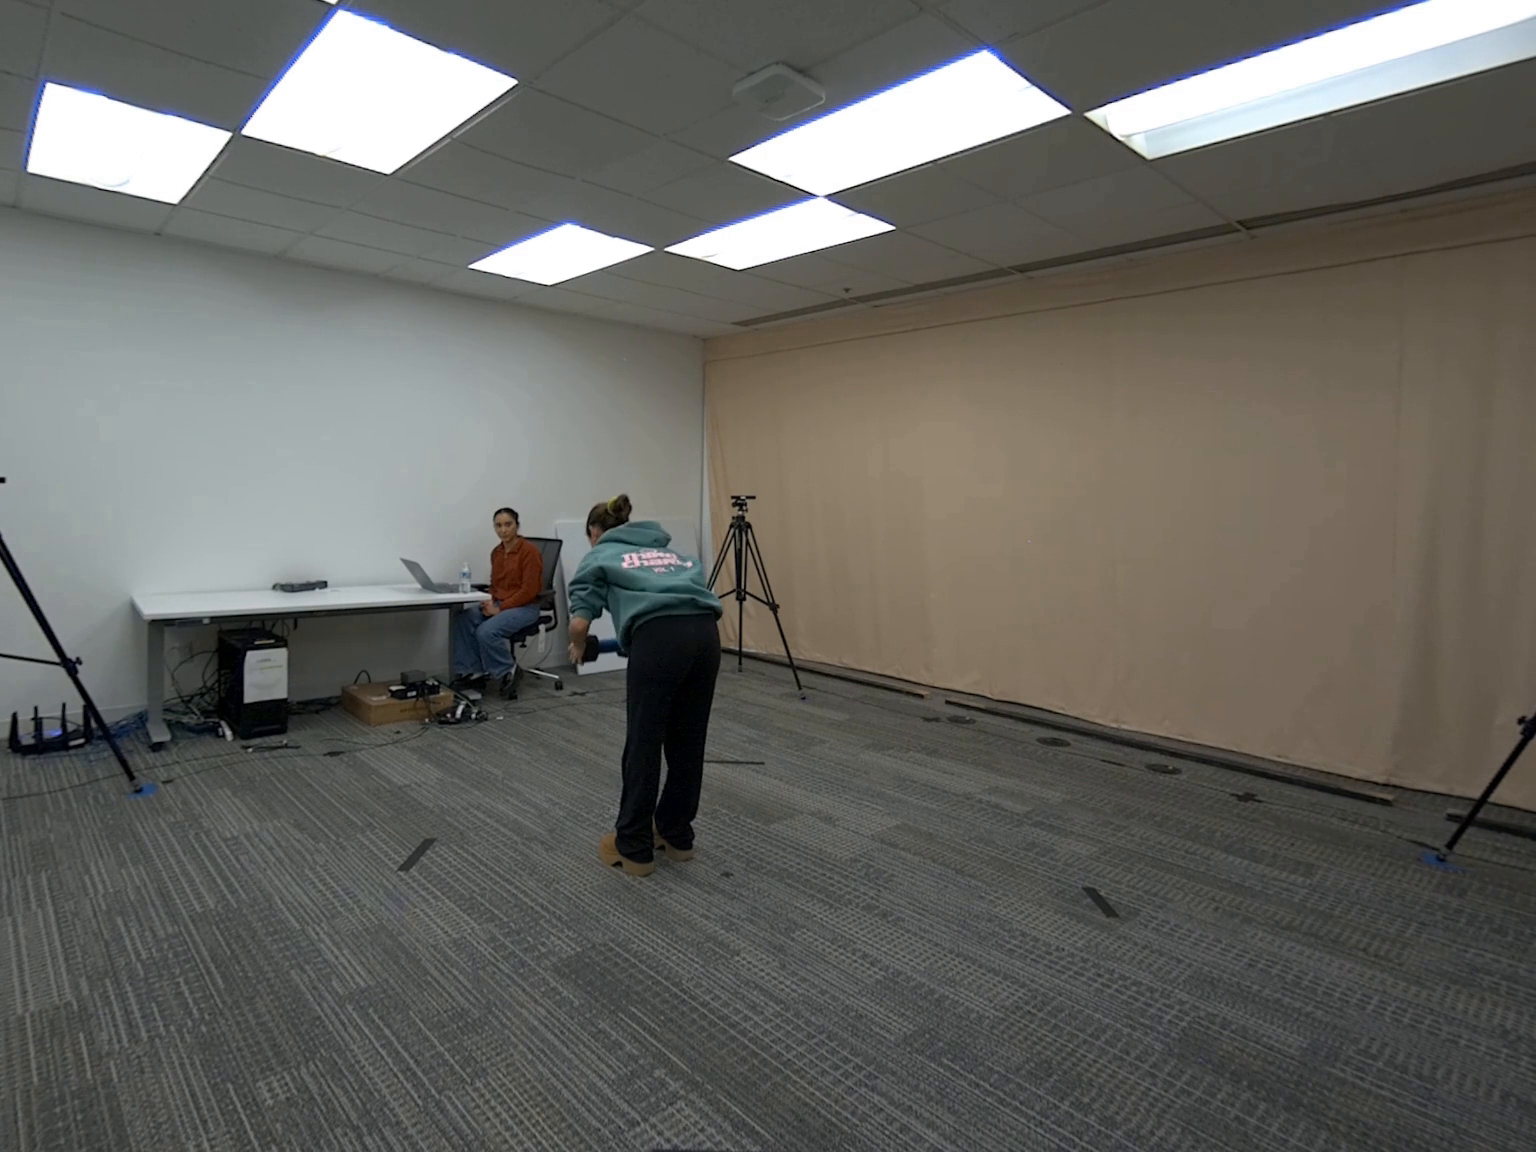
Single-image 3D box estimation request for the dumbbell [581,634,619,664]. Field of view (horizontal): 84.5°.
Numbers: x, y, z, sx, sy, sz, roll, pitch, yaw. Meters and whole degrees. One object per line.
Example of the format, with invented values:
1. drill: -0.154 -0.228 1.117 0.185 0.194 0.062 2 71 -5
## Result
1. dumbbell: -0.657 0.290 3.433 0.287 0.122 0.112 -1 34 -44
